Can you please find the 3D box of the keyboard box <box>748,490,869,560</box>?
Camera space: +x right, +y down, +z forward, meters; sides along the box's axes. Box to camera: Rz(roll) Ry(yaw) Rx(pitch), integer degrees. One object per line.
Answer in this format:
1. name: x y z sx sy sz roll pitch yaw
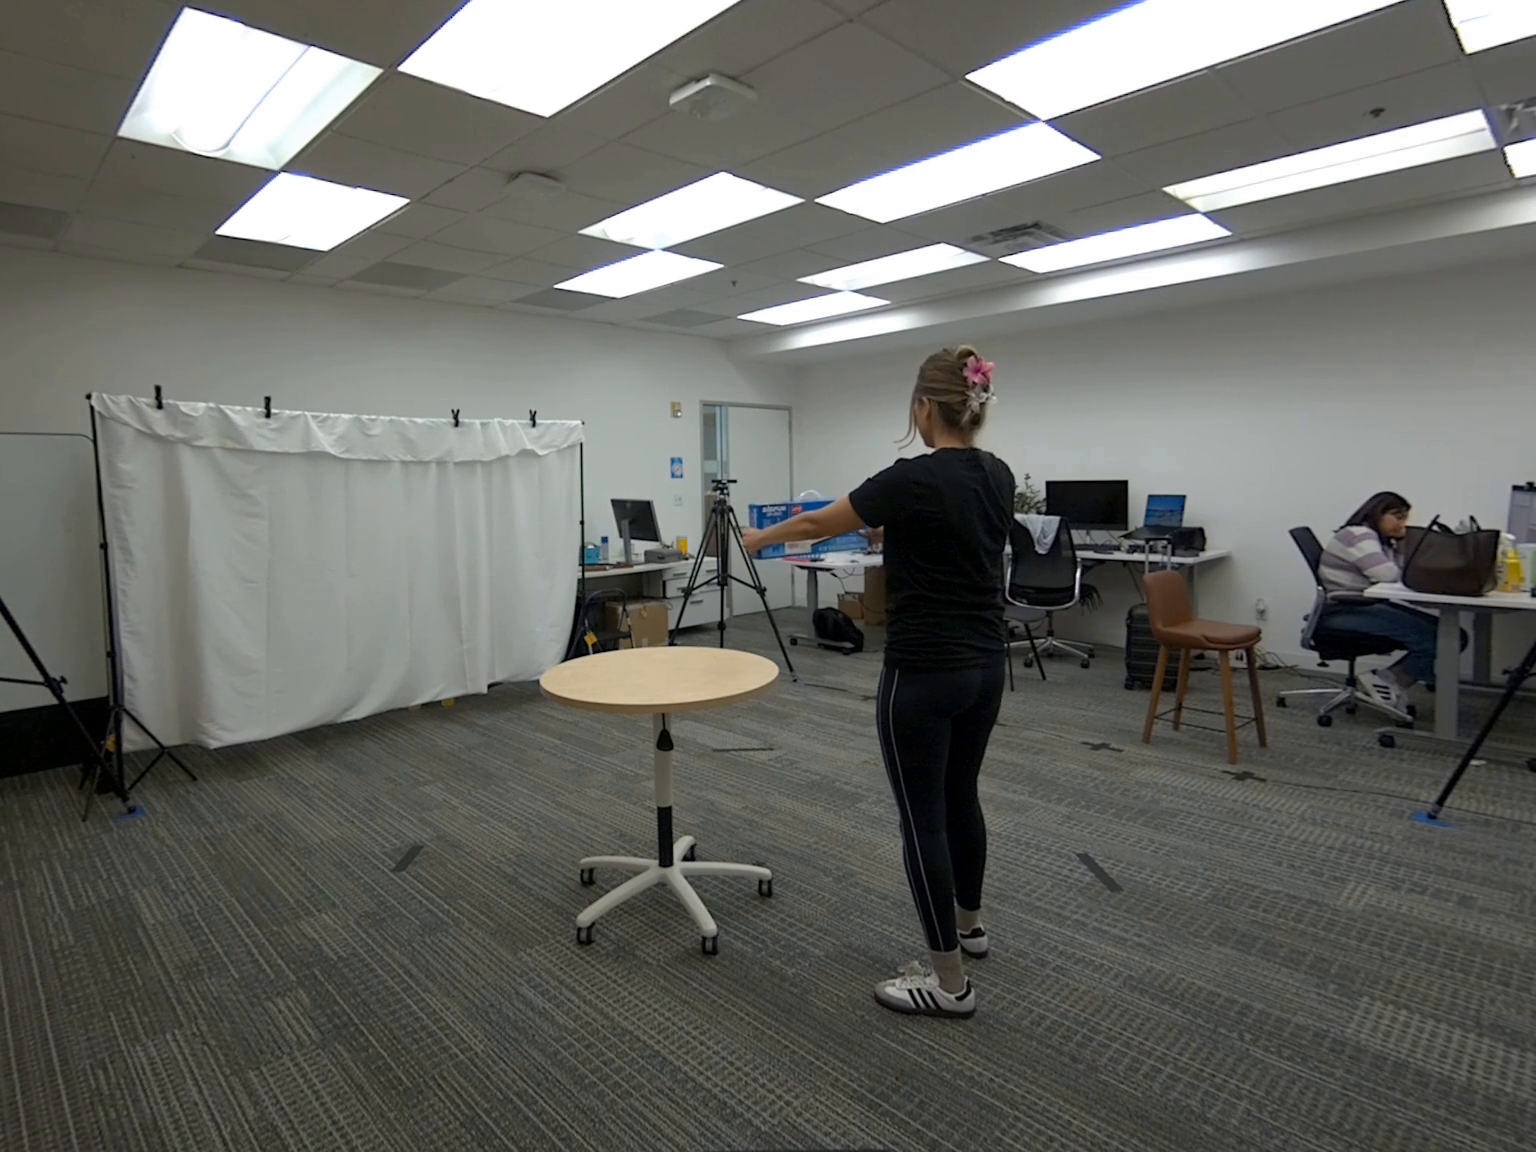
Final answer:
1. keyboard box: 0.138 -0.155 2.758 0.427 0.175 0.061 -7 7 -32
